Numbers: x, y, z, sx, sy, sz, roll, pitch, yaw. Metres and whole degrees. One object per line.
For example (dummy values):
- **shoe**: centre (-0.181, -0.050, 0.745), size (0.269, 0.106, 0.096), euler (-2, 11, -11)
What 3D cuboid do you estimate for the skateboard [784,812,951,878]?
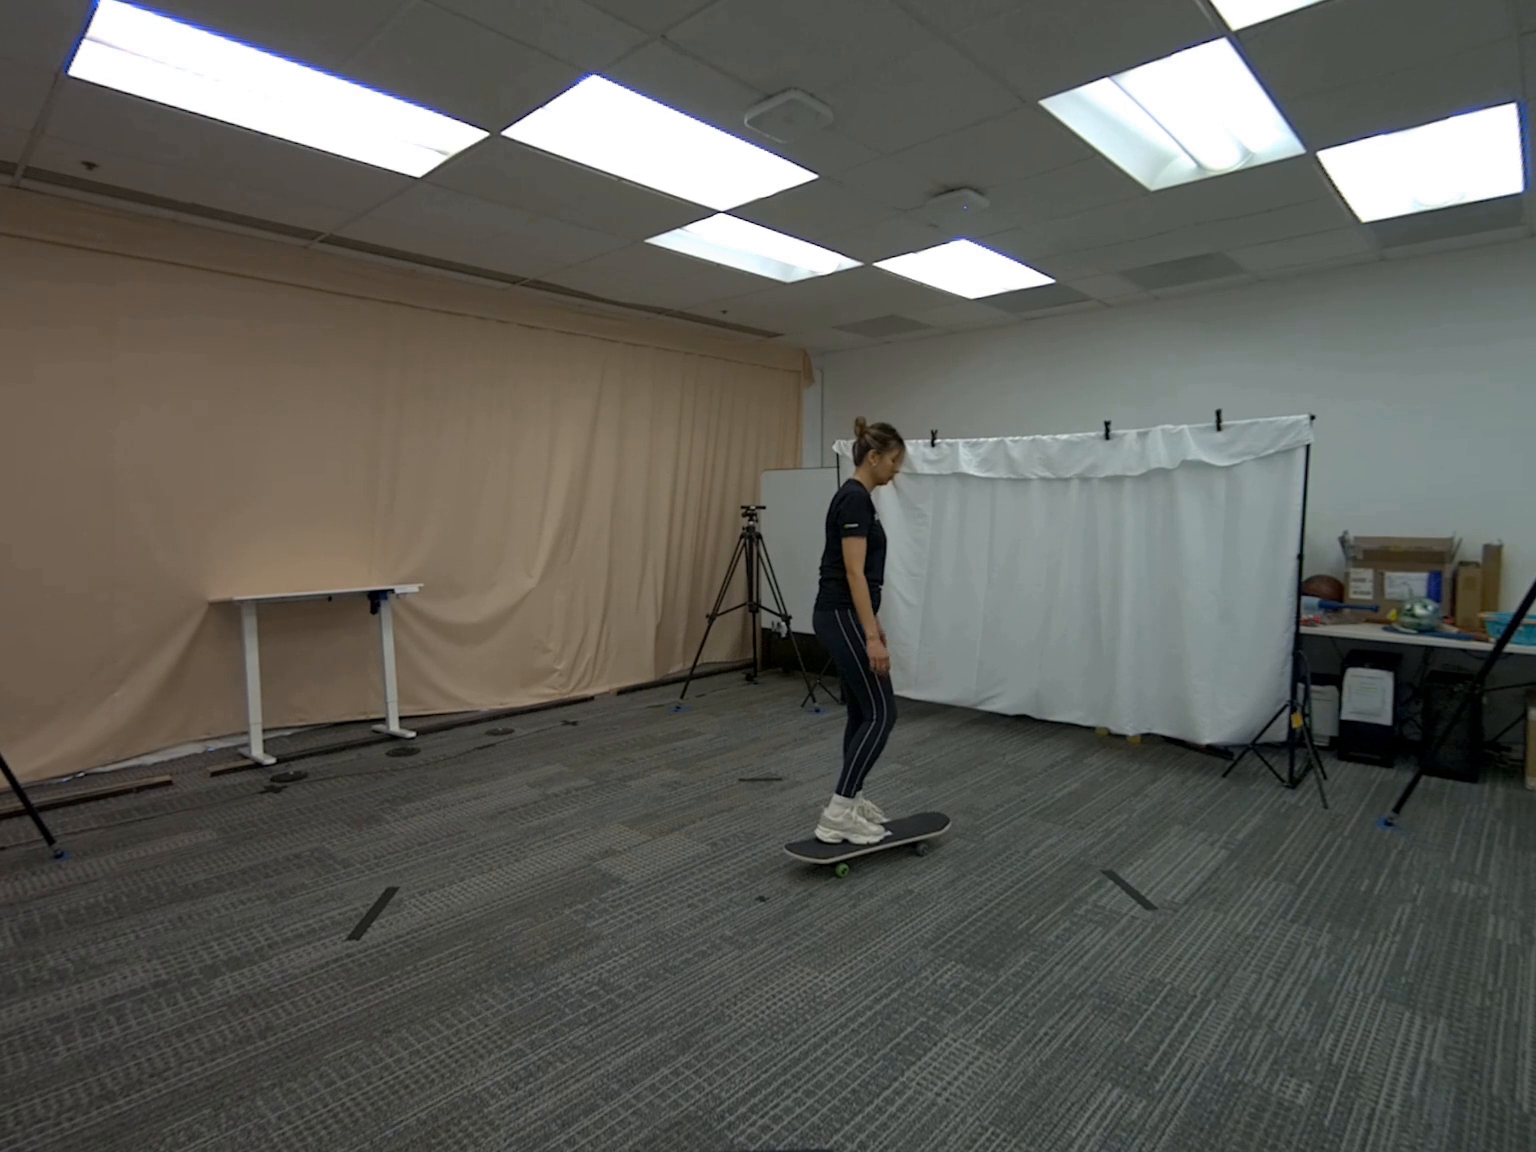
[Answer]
- **skateboard**: centre (0.410, 1.061, 3.321), size (0.764, 0.110, 0.199), euler (-3, 5, -30)
